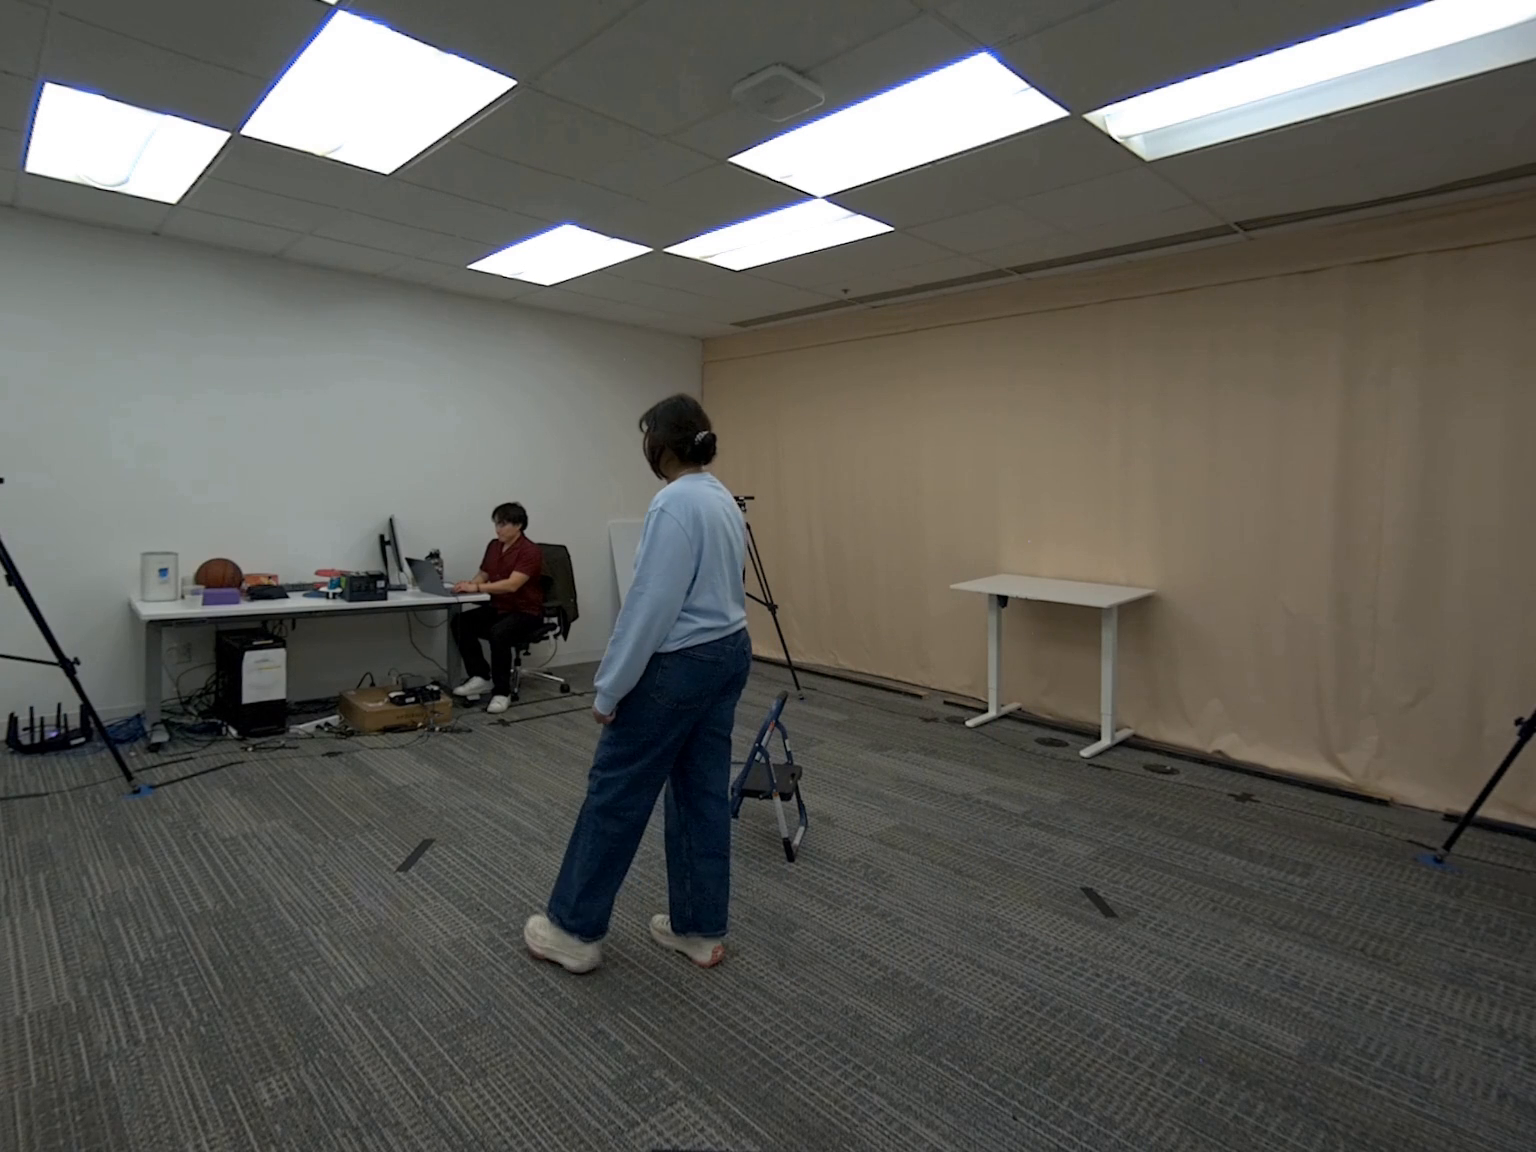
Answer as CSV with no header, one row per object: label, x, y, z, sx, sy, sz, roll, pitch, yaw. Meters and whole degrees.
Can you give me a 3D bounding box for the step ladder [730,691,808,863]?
step ladder,-0.028,0.773,3.443,0.353,0.605,0.427,2,3,11
